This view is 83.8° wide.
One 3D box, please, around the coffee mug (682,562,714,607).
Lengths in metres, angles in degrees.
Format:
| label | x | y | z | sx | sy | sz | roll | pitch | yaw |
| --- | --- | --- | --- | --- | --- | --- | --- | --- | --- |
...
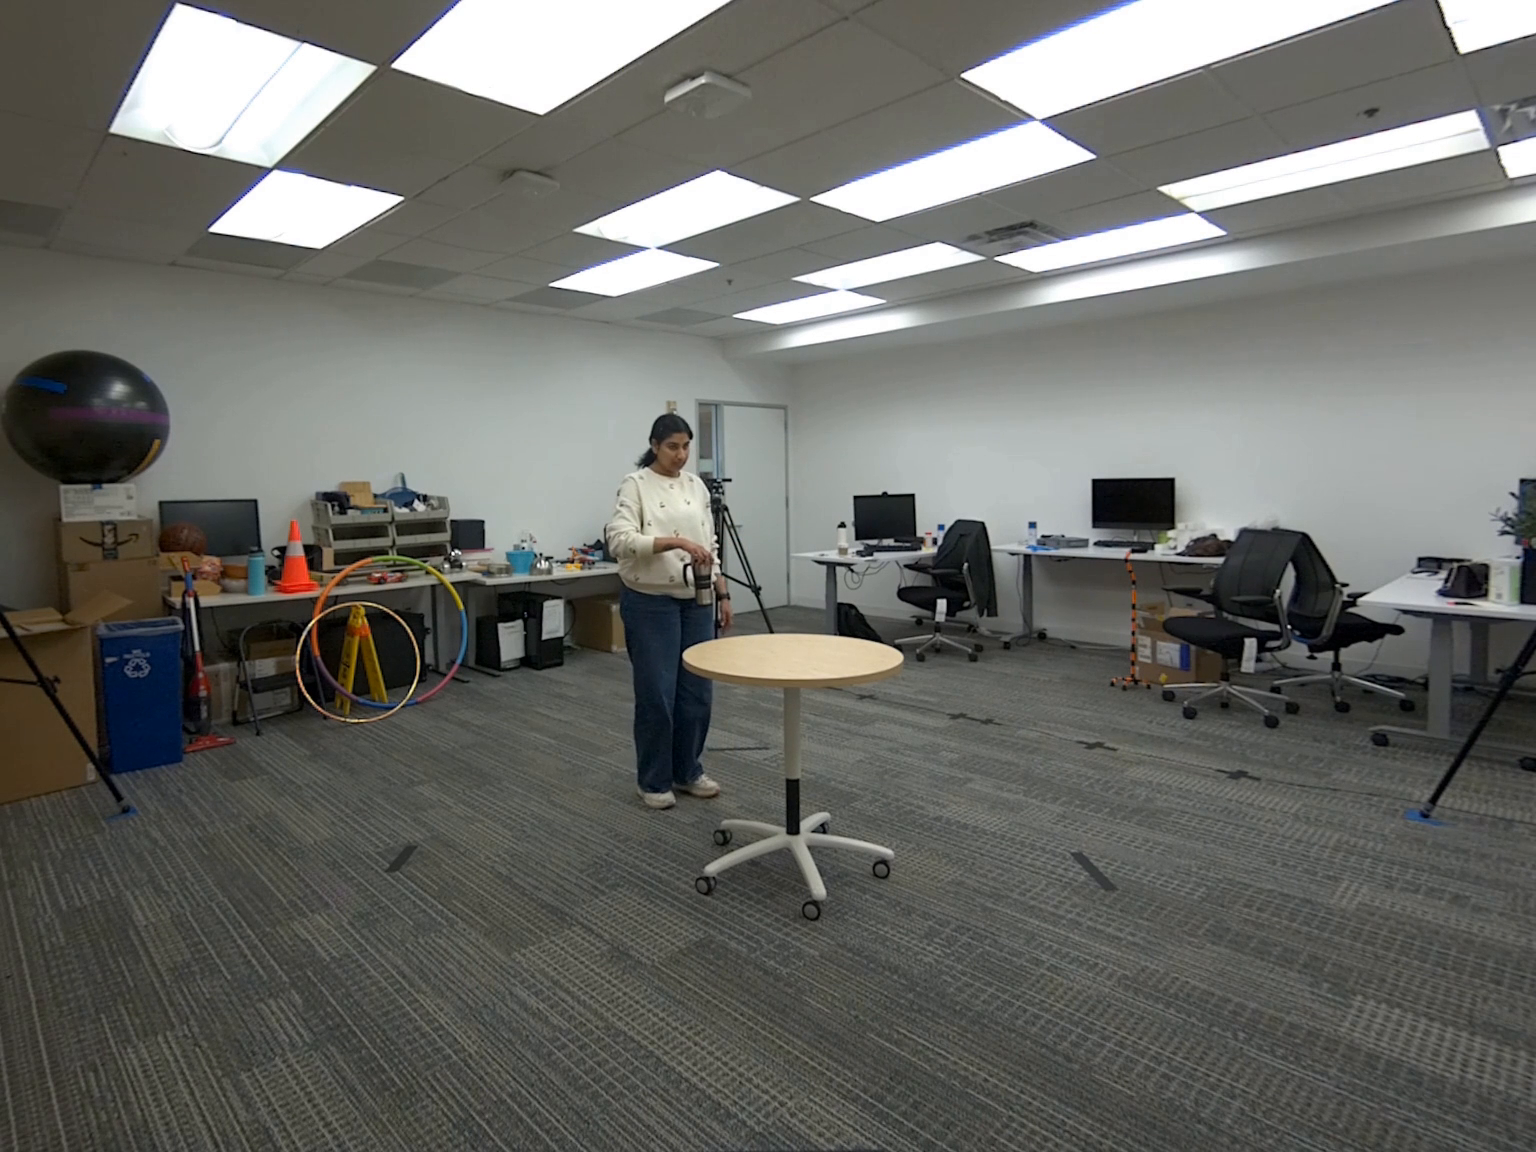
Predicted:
| label | x | y | z | sx | sy | sz | roll | pitch | yaw |
| --- | --- | --- | --- | --- | --- | --- | --- | --- | --- |
| coffee mug | -0.300 | 0.033 | 3.549 | 0.086 | 0.203 | 0.125 | -8 | 2 | -40 |
